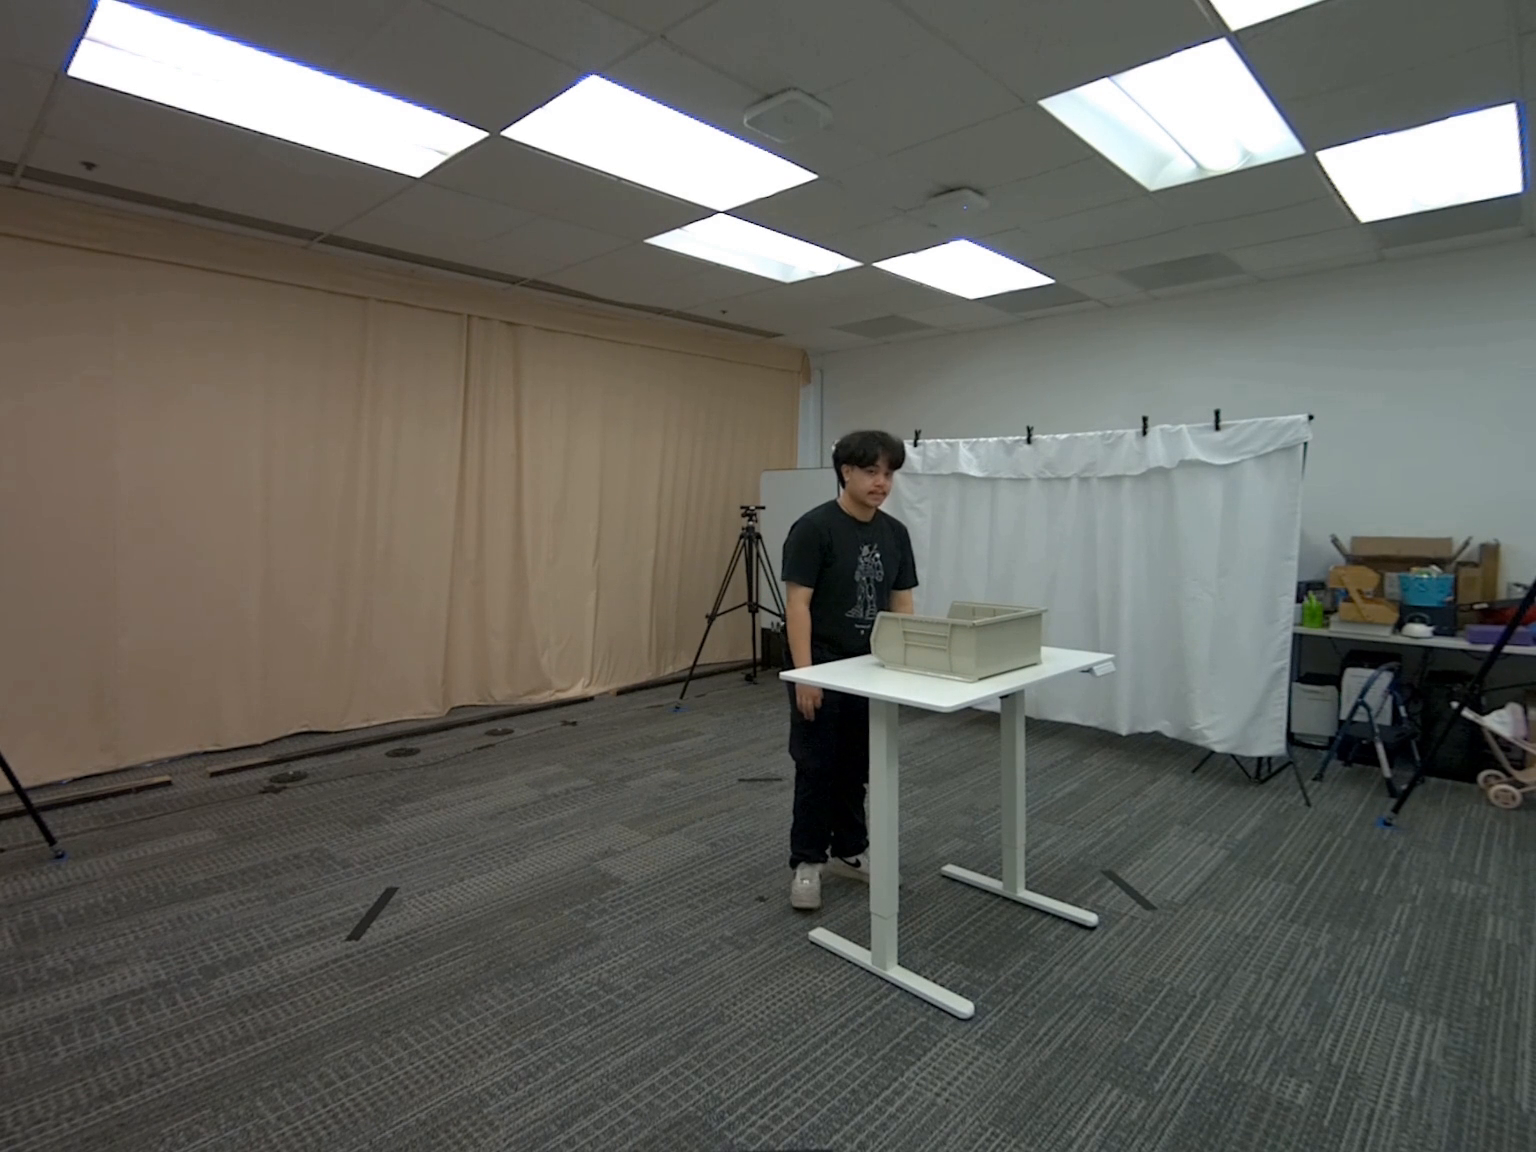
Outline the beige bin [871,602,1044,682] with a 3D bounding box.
[{"bbox_3d":[0.602,0.195,2.675,0.409,0.188,0.390,-4,6,-42],"label":"beige bin"}]
